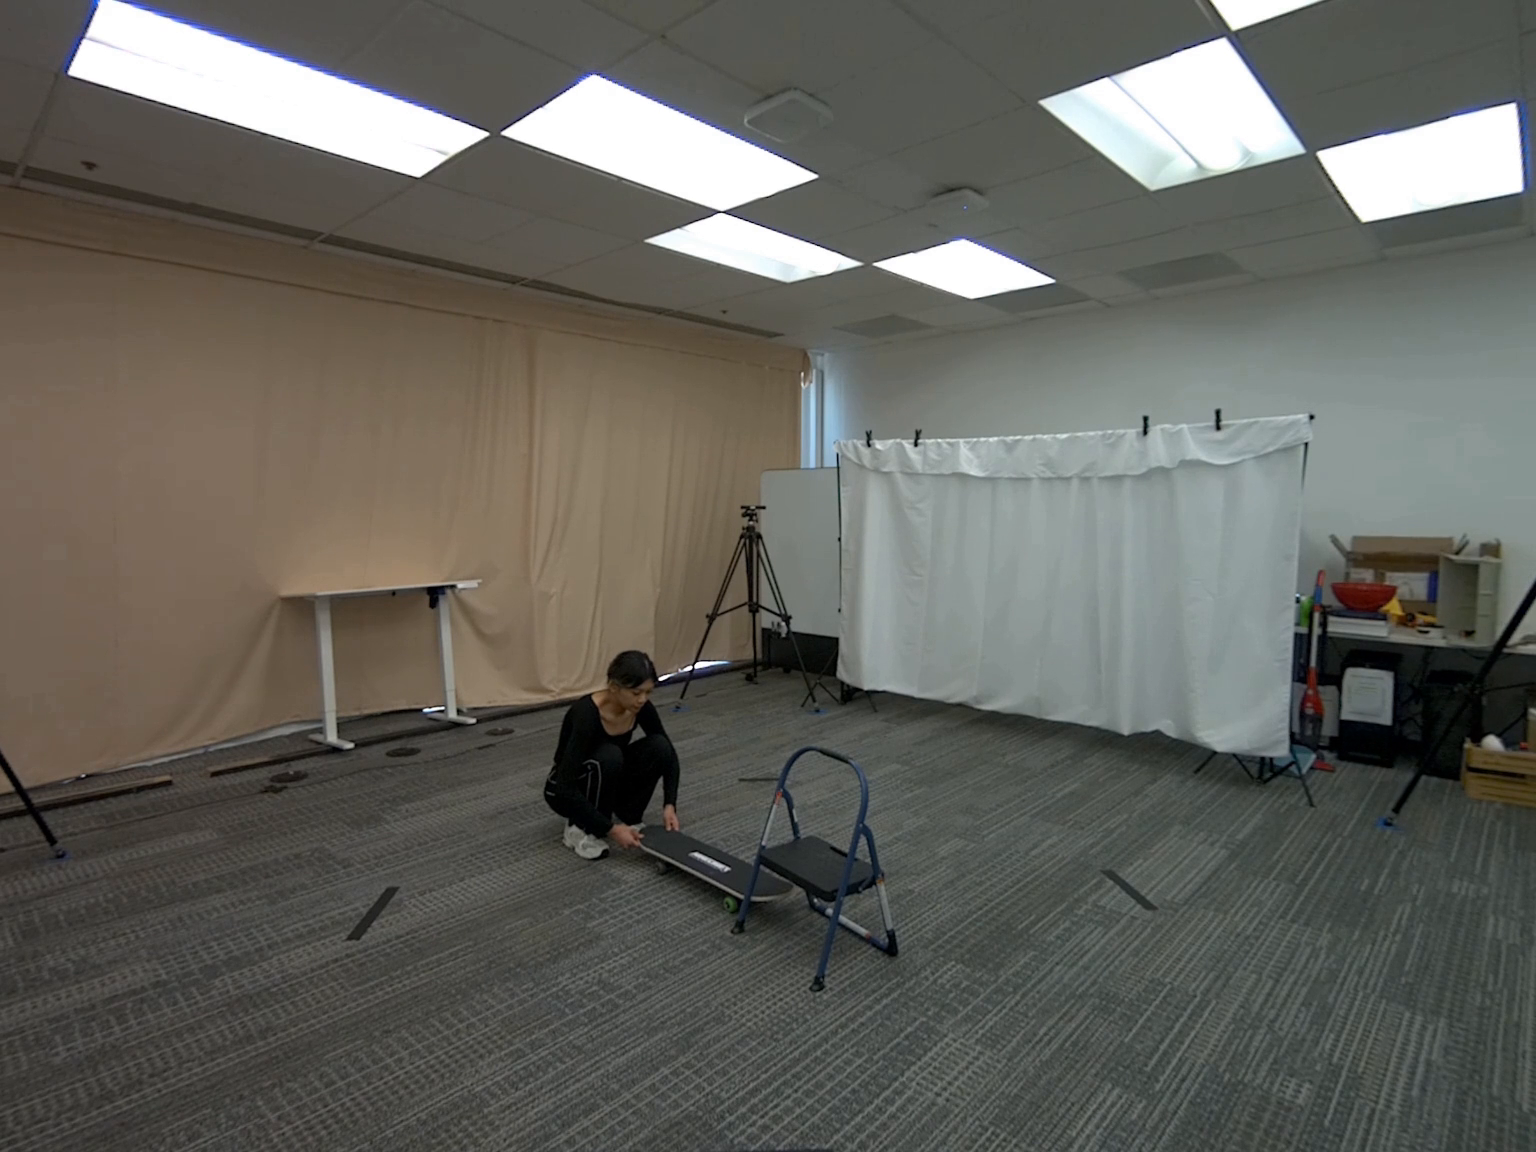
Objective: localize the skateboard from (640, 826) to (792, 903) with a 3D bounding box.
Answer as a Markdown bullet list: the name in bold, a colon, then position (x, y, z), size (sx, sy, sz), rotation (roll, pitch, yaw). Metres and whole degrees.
- **skateboard**: position (-0.208, 1.077, 3.084), size (0.187, 0.110, 0.812), rotation (-4, 5, -43)
